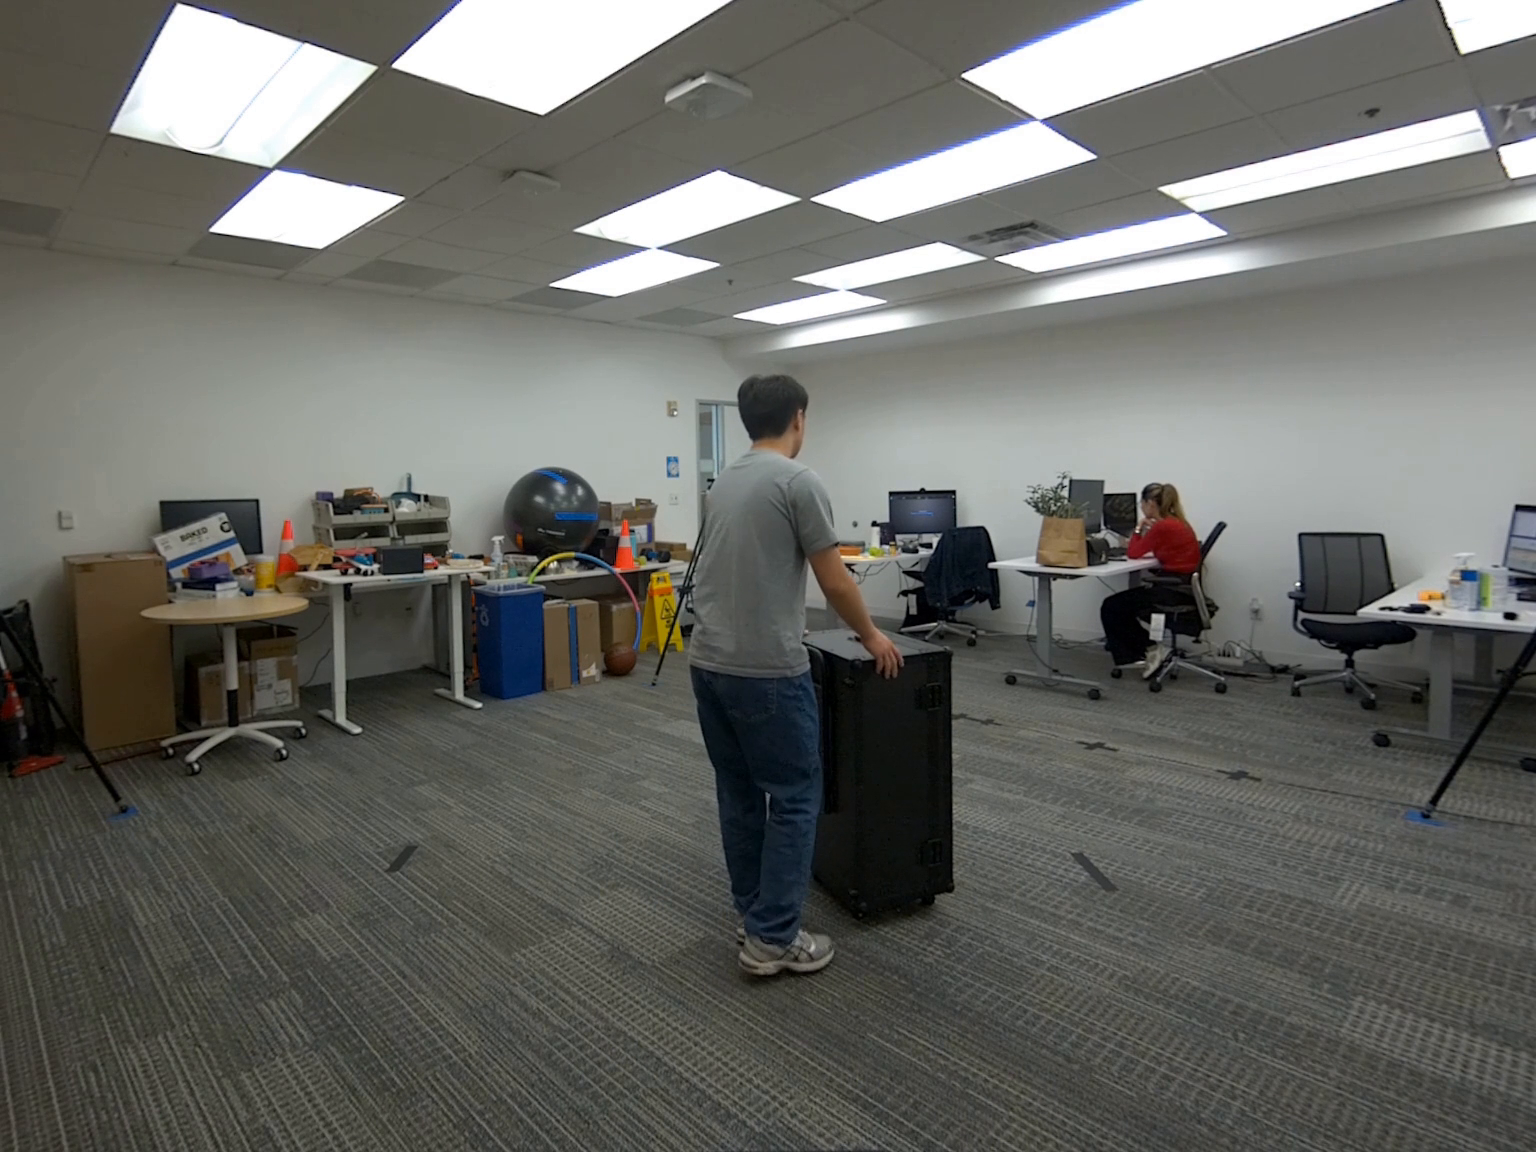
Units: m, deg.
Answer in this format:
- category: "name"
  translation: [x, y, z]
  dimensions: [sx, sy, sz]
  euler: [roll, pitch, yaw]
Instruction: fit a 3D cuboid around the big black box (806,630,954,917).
- category: "big black box"
  translation: [0.323, 0.639, 2.854]
  dimensions: [0.388, 0.858, 0.534]
  euler: [-4, 5, -24]
